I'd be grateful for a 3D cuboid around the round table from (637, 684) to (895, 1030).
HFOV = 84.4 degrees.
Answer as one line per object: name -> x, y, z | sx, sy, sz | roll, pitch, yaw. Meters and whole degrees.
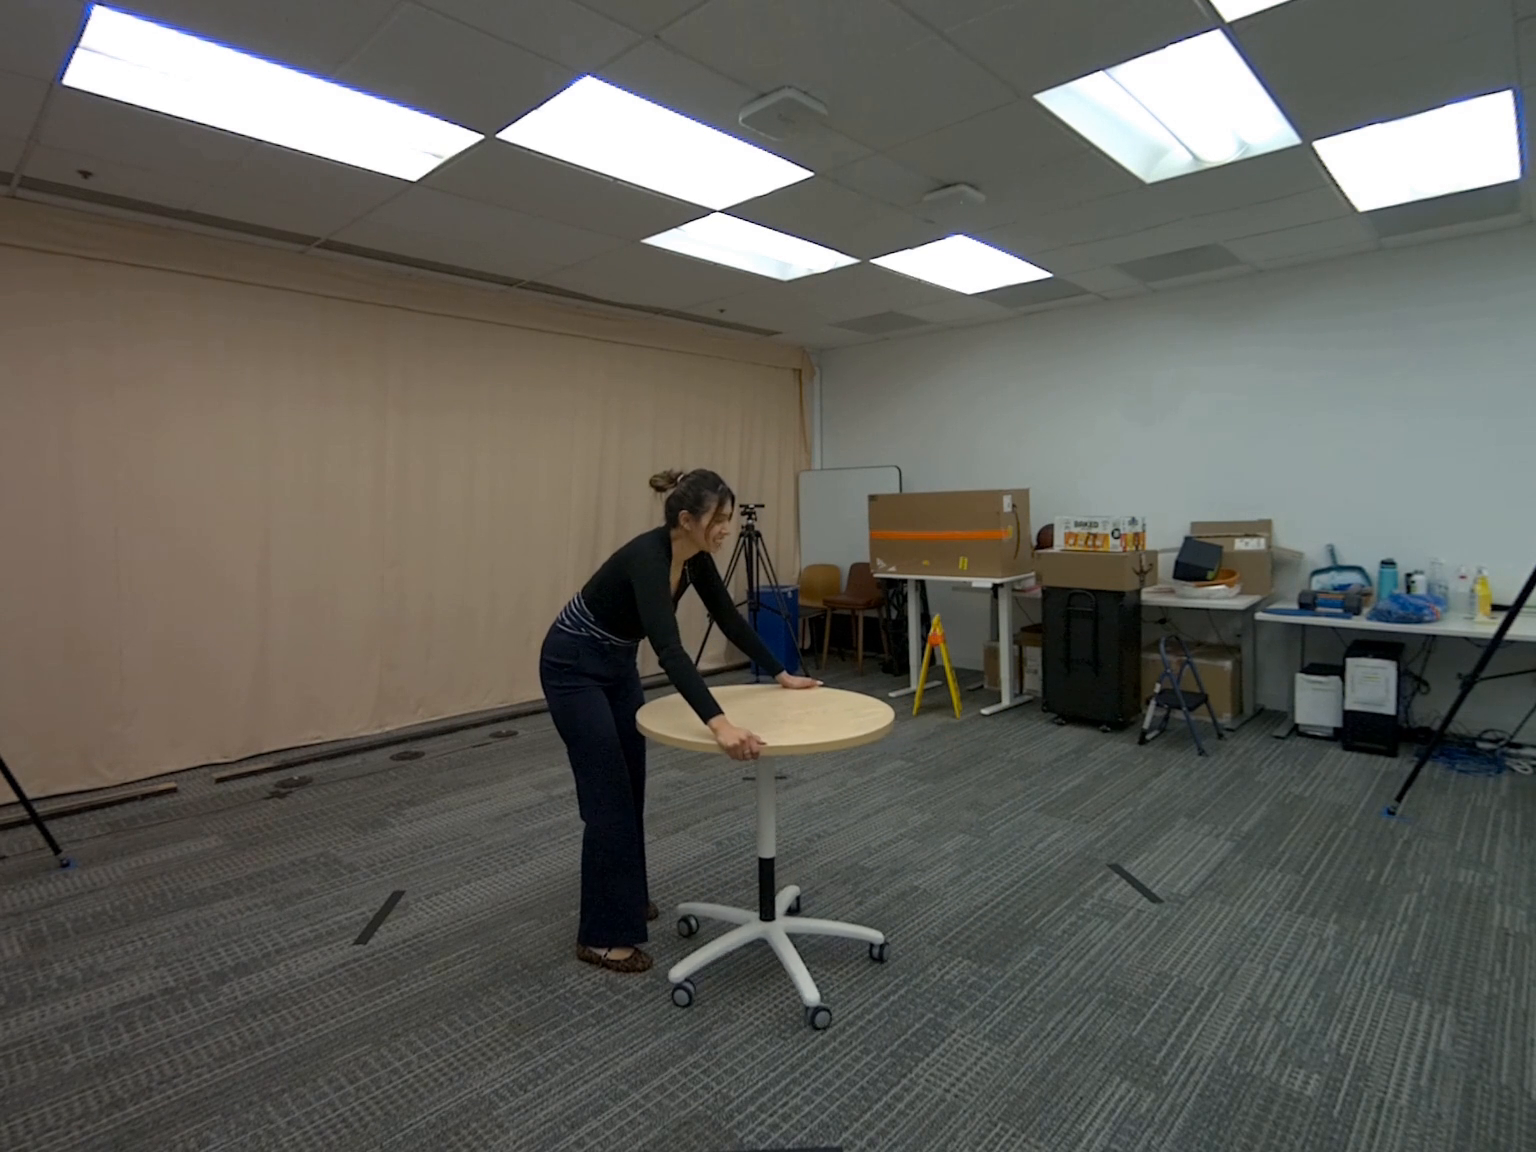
round table -> 0.009, 0.795, 2.538 | 0.763, 0.792, 0.766 | -1, 3, -2
